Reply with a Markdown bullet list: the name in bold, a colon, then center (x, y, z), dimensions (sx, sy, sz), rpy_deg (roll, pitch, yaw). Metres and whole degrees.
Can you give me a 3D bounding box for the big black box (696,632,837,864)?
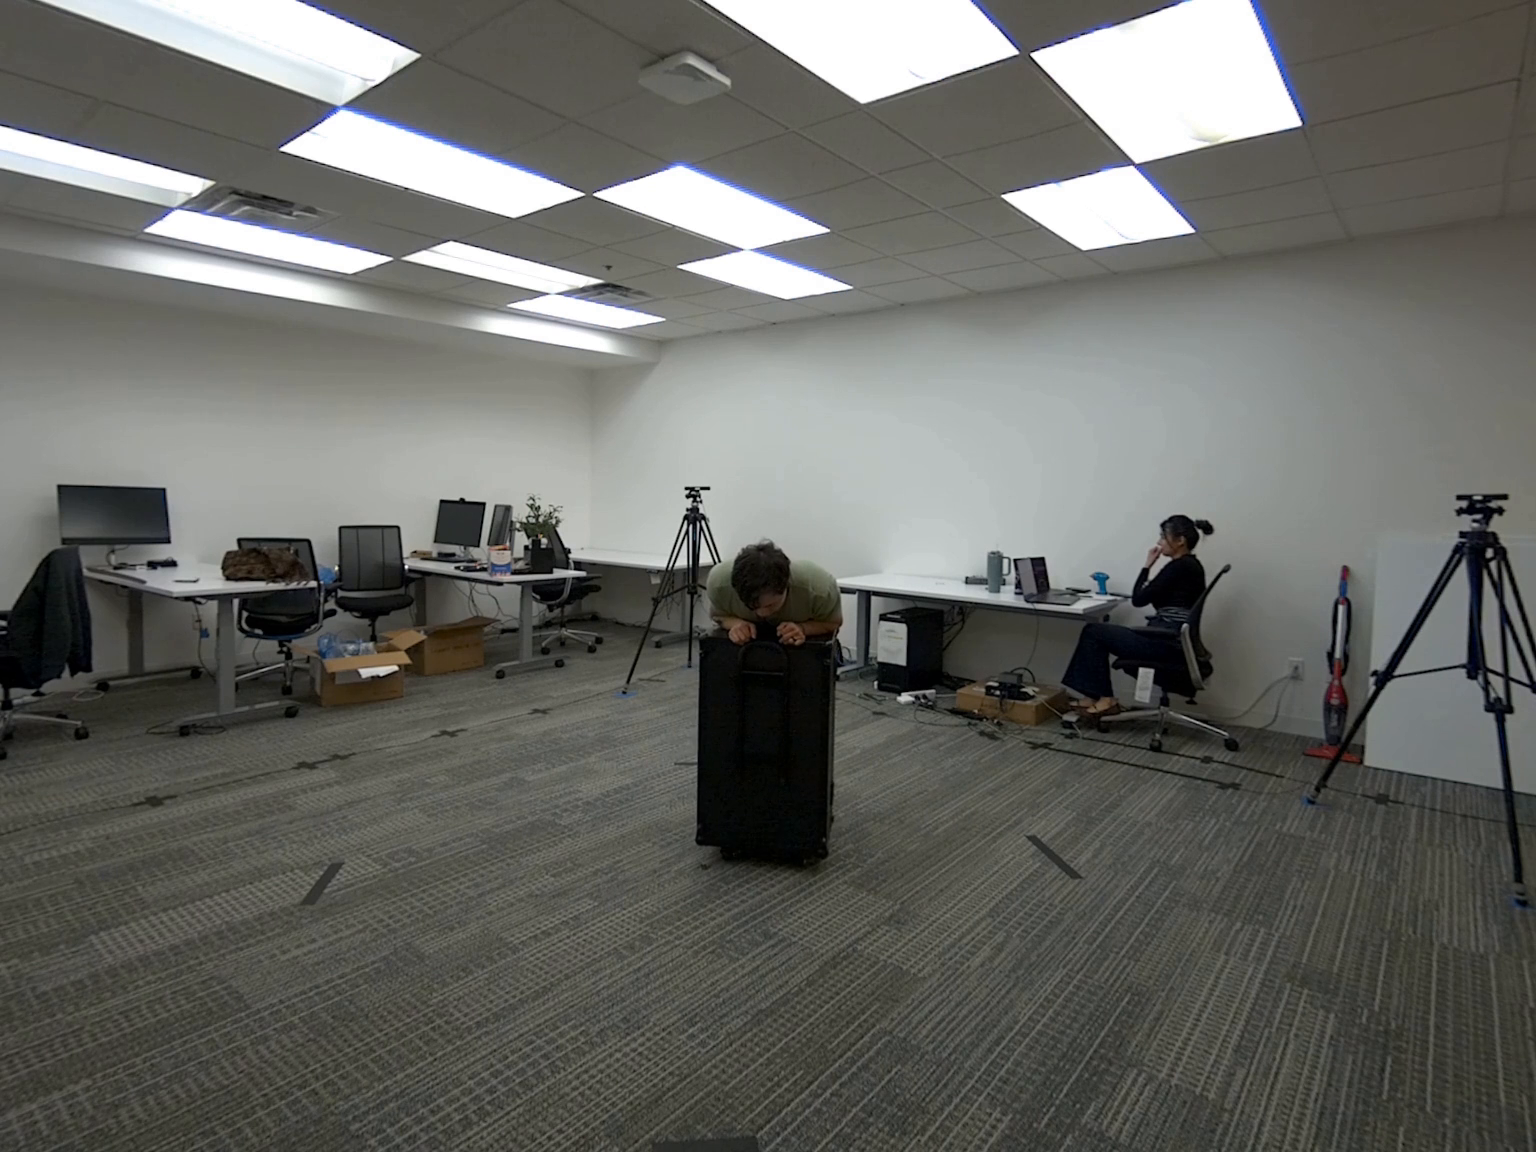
- **big black box**: center (-0.004, 0.641, 3.234), dimensions (0.528, 0.858, 0.393), rpy_deg (1, 4, 10)
